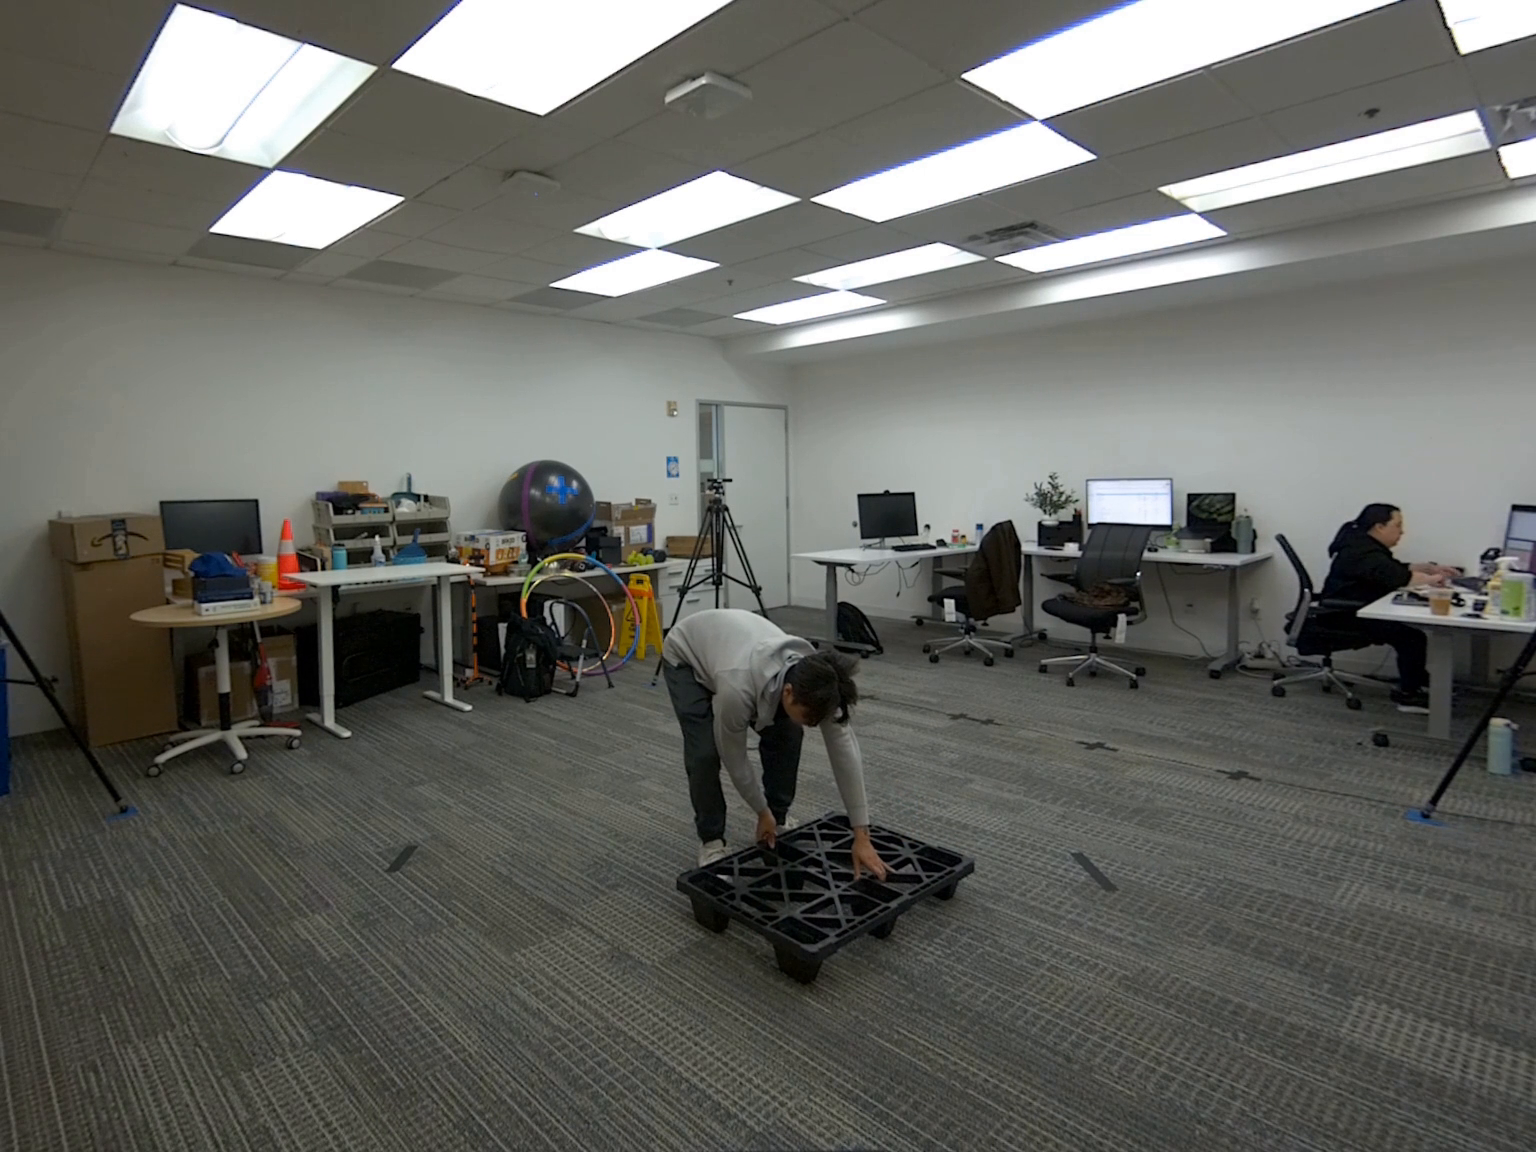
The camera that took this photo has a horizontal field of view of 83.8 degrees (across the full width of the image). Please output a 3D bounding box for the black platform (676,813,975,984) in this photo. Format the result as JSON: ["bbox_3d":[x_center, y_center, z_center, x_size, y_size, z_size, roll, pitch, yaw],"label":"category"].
[{"bbox_3d":[0.202,1.014,2.761,0.785,0.142,0.624,-7,10,-43],"label":"black platform"}]
